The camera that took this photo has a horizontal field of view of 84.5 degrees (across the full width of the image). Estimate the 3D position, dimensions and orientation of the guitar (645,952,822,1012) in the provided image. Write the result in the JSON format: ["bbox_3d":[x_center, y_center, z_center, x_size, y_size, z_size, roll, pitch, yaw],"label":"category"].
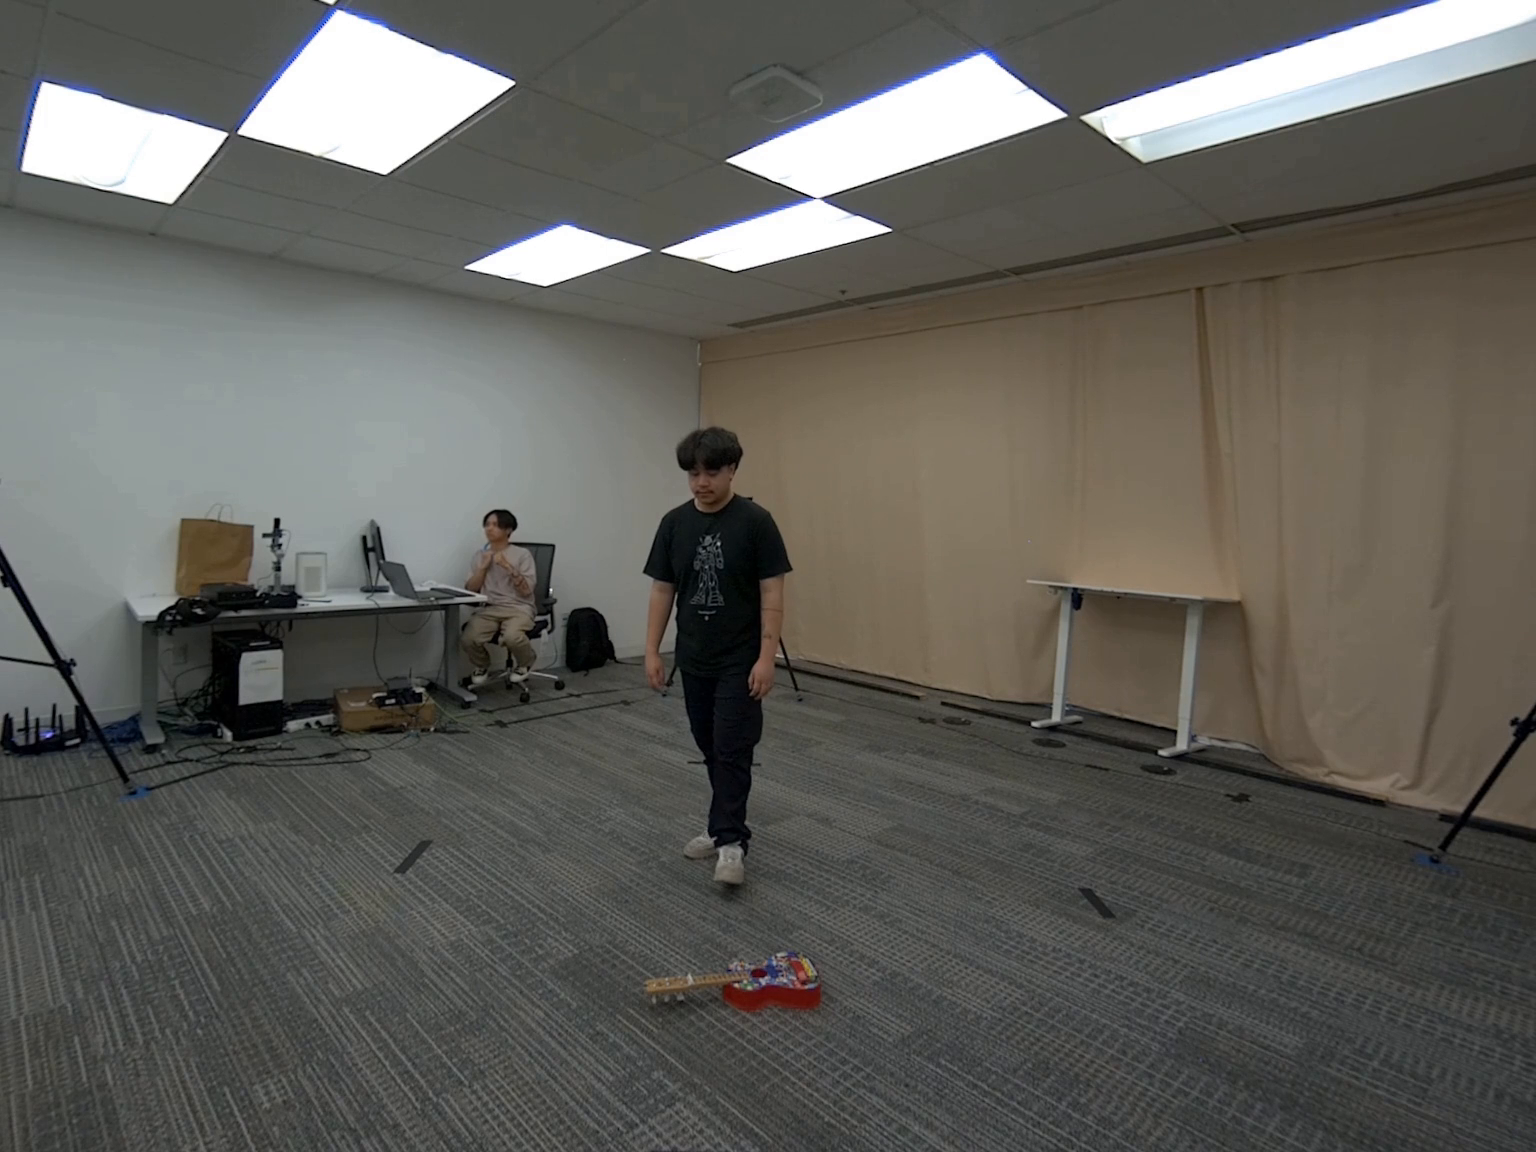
[{"bbox_3d":[-0.110,1.137,2.376,0.495,0.070,0.195,2,6,-6],"label":"guitar"}]
